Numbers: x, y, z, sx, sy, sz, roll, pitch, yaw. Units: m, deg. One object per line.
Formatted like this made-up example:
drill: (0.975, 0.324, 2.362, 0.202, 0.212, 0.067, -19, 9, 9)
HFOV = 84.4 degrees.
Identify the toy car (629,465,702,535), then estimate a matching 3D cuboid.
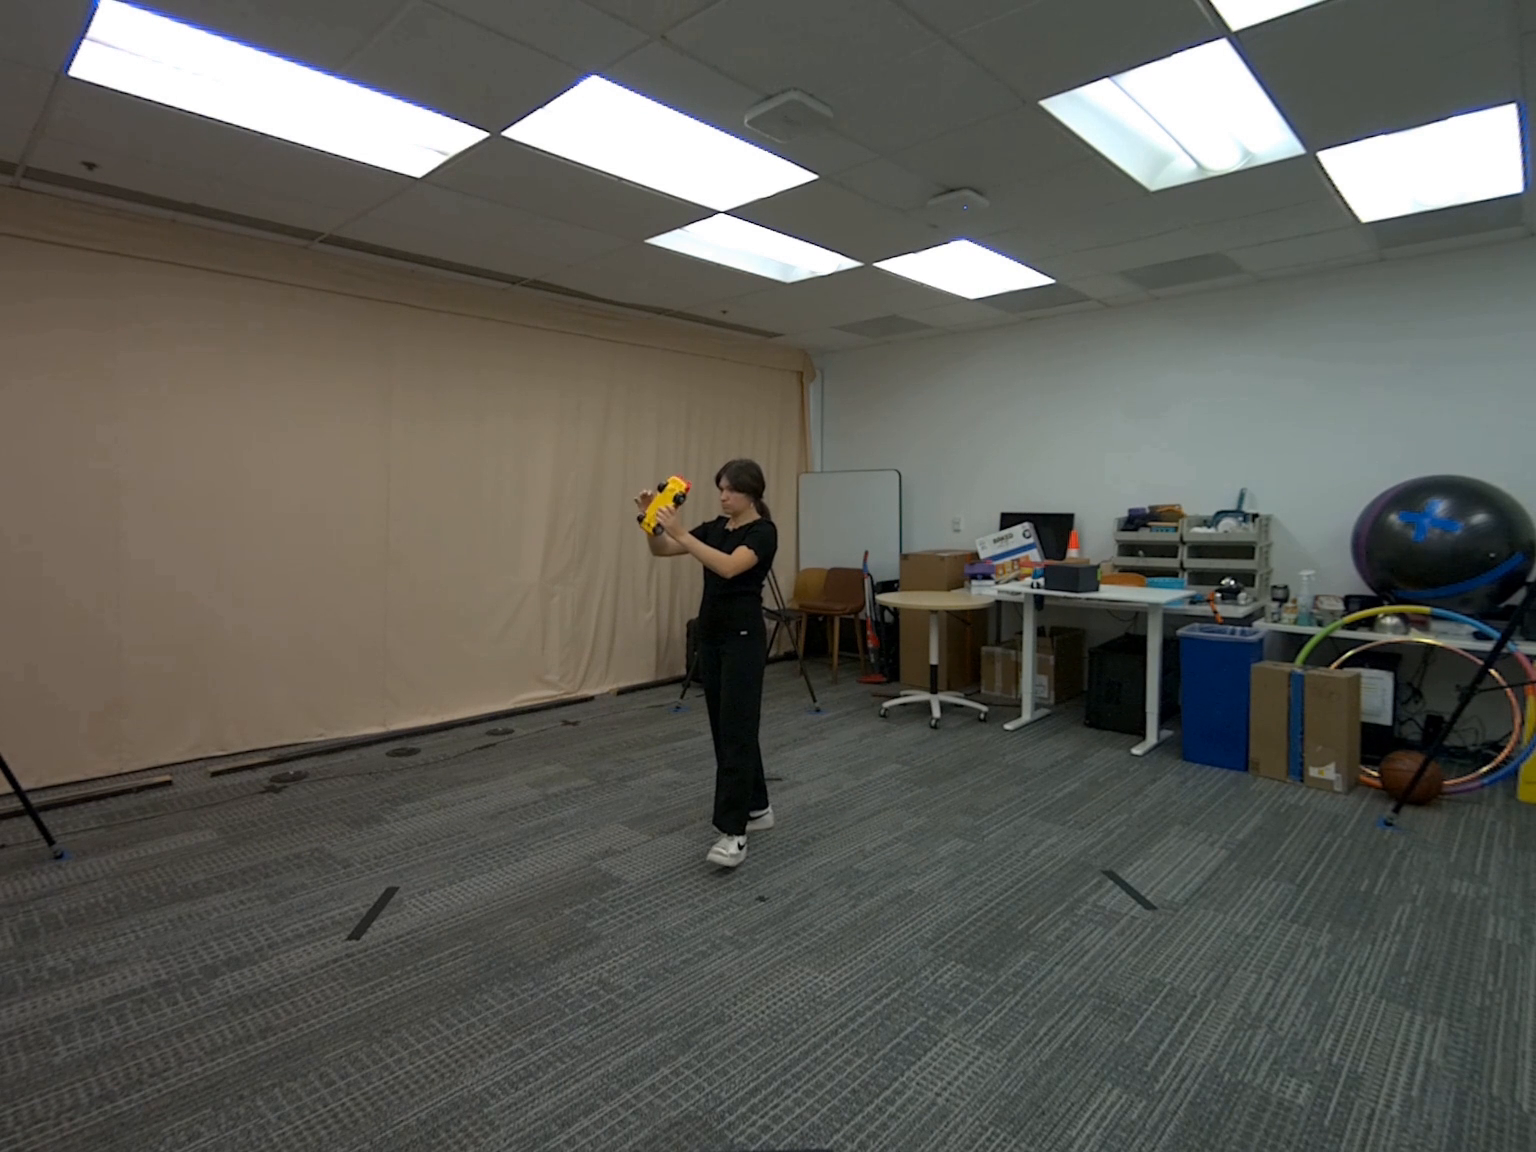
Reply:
toy car: (-0.395, -0.277, 3.251, 0.134, 0.254, 0.081, 34, -7, 26)
